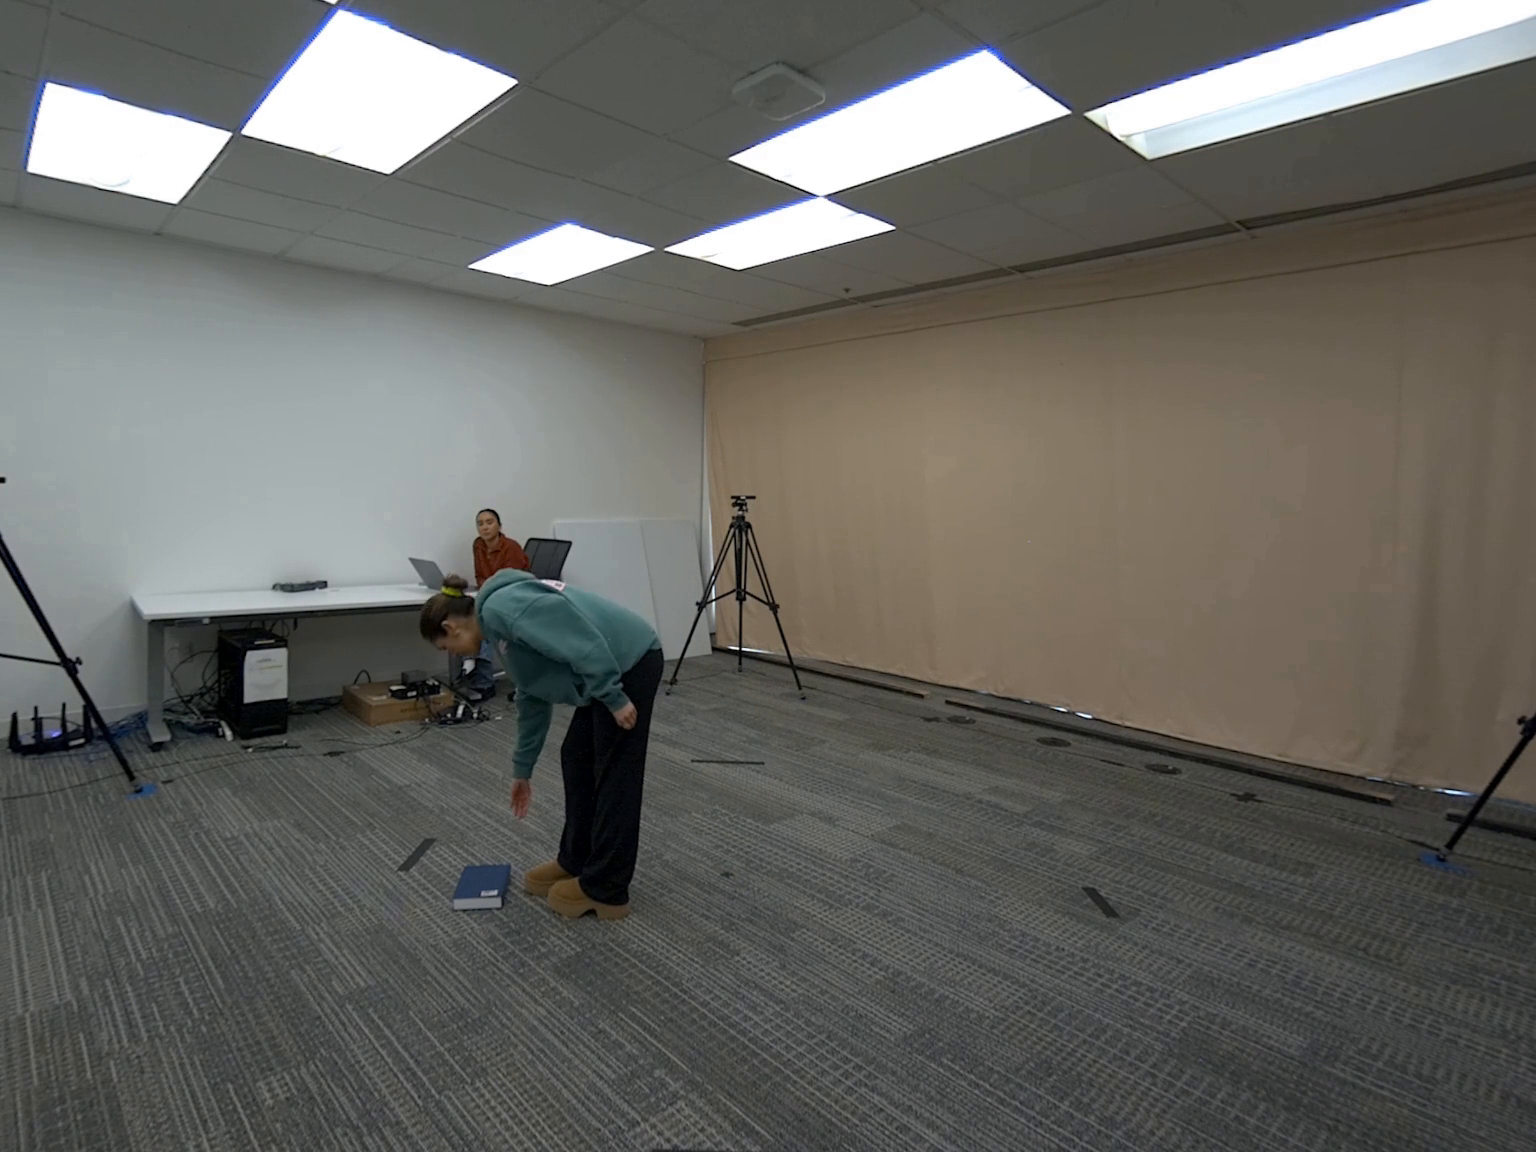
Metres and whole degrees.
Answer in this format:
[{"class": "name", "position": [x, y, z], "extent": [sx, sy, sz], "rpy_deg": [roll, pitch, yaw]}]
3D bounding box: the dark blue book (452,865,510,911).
[{"class": "dark blue book", "position": [-0.988, 1.071, 2.918], "extent": [0.162, 0.045, 0.248], "rpy_deg": [0, 6, -10]}]
